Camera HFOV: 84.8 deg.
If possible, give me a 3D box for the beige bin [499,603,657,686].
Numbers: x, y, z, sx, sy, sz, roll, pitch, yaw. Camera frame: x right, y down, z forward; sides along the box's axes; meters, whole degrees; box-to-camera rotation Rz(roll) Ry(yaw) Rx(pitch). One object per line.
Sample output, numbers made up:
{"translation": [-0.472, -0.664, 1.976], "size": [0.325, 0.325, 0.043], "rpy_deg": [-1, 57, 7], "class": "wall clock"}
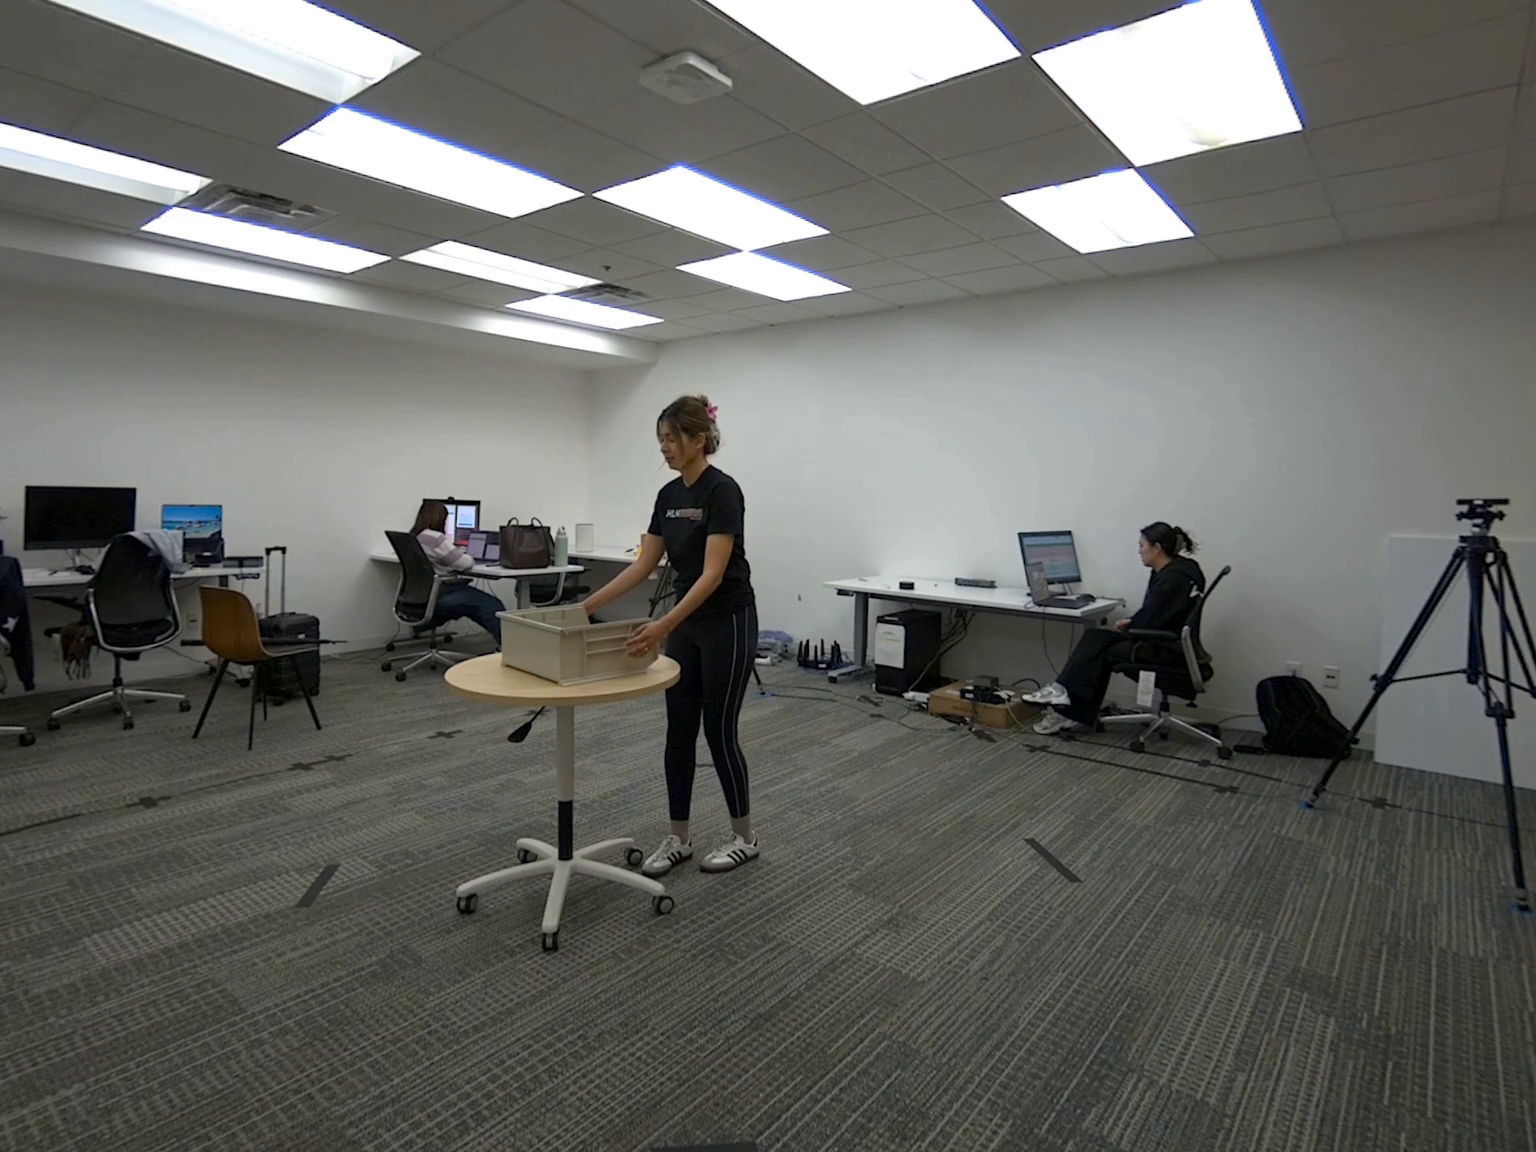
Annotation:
{"translation": [-0.657, 0.223, 2.824], "size": [0.366, 0.188, 0.437], "rpy_deg": [-6, 10, -43], "class": "beige bin"}
